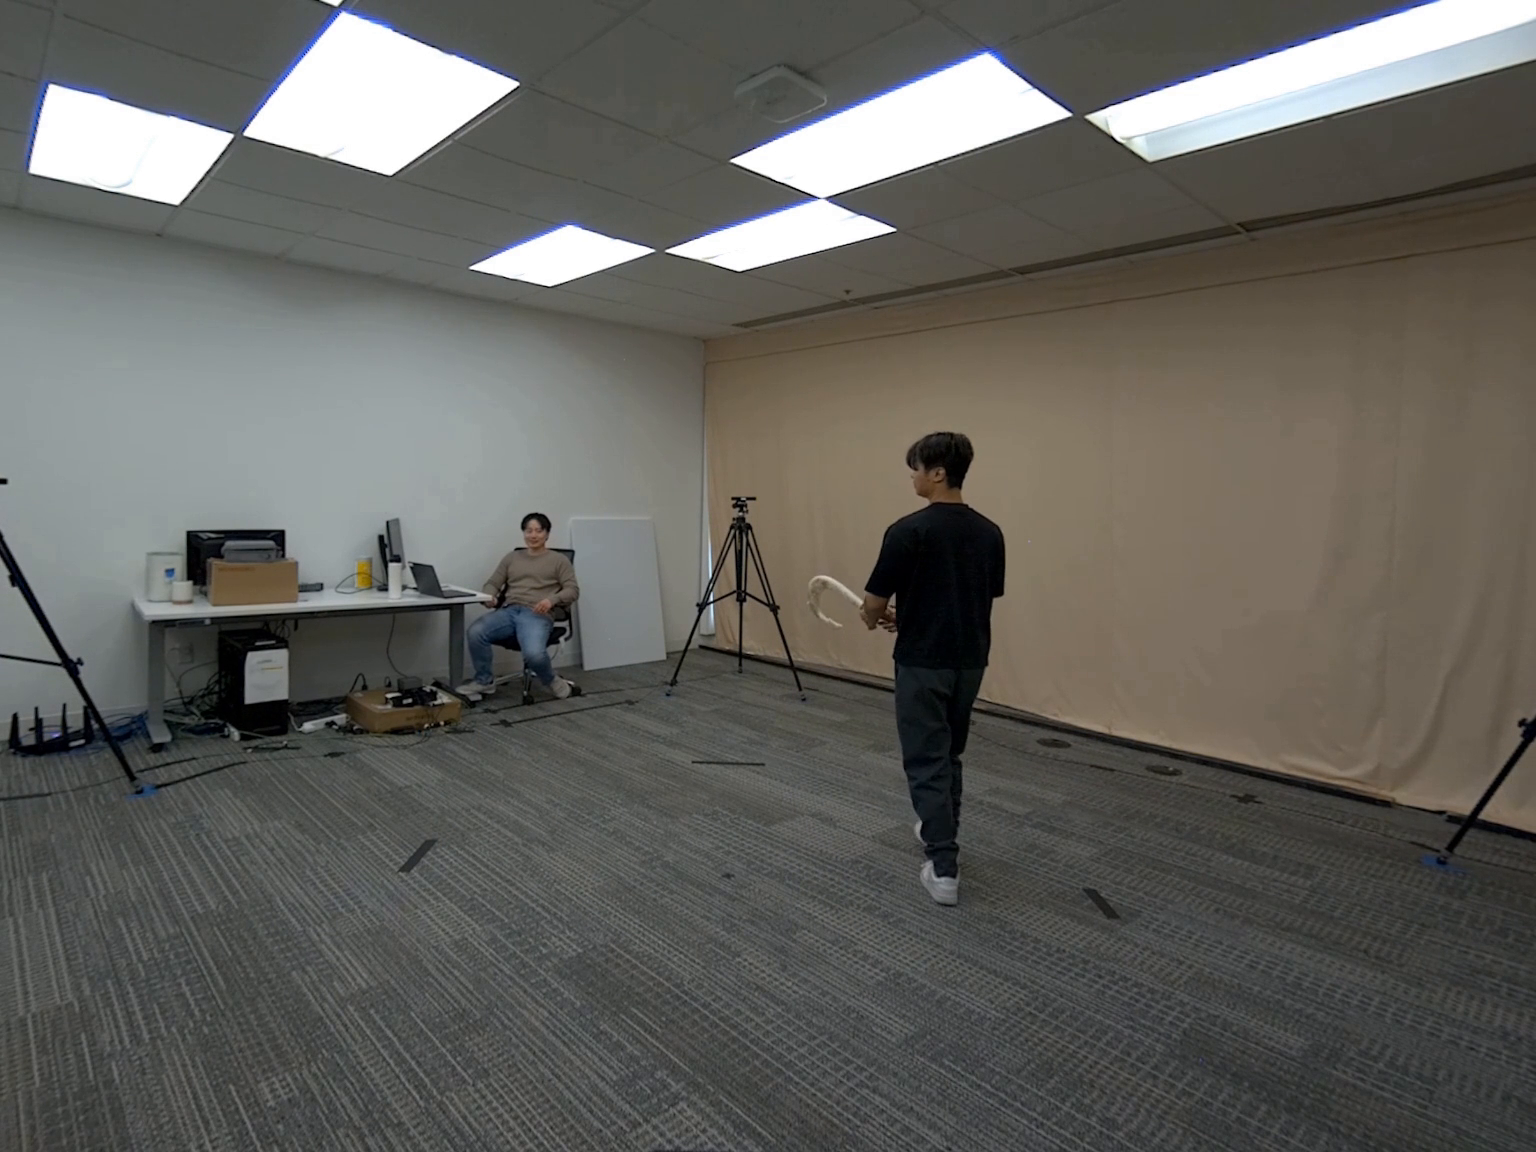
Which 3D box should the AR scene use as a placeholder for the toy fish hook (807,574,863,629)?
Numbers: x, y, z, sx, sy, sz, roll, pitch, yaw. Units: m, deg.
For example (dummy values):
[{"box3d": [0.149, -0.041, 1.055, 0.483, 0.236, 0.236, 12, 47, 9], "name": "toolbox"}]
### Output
[{"box3d": [0.348, 0.178, 3.456, 0.047, 0.221, 0.522, -19, 30, -38], "name": "toy fish hook"}]
